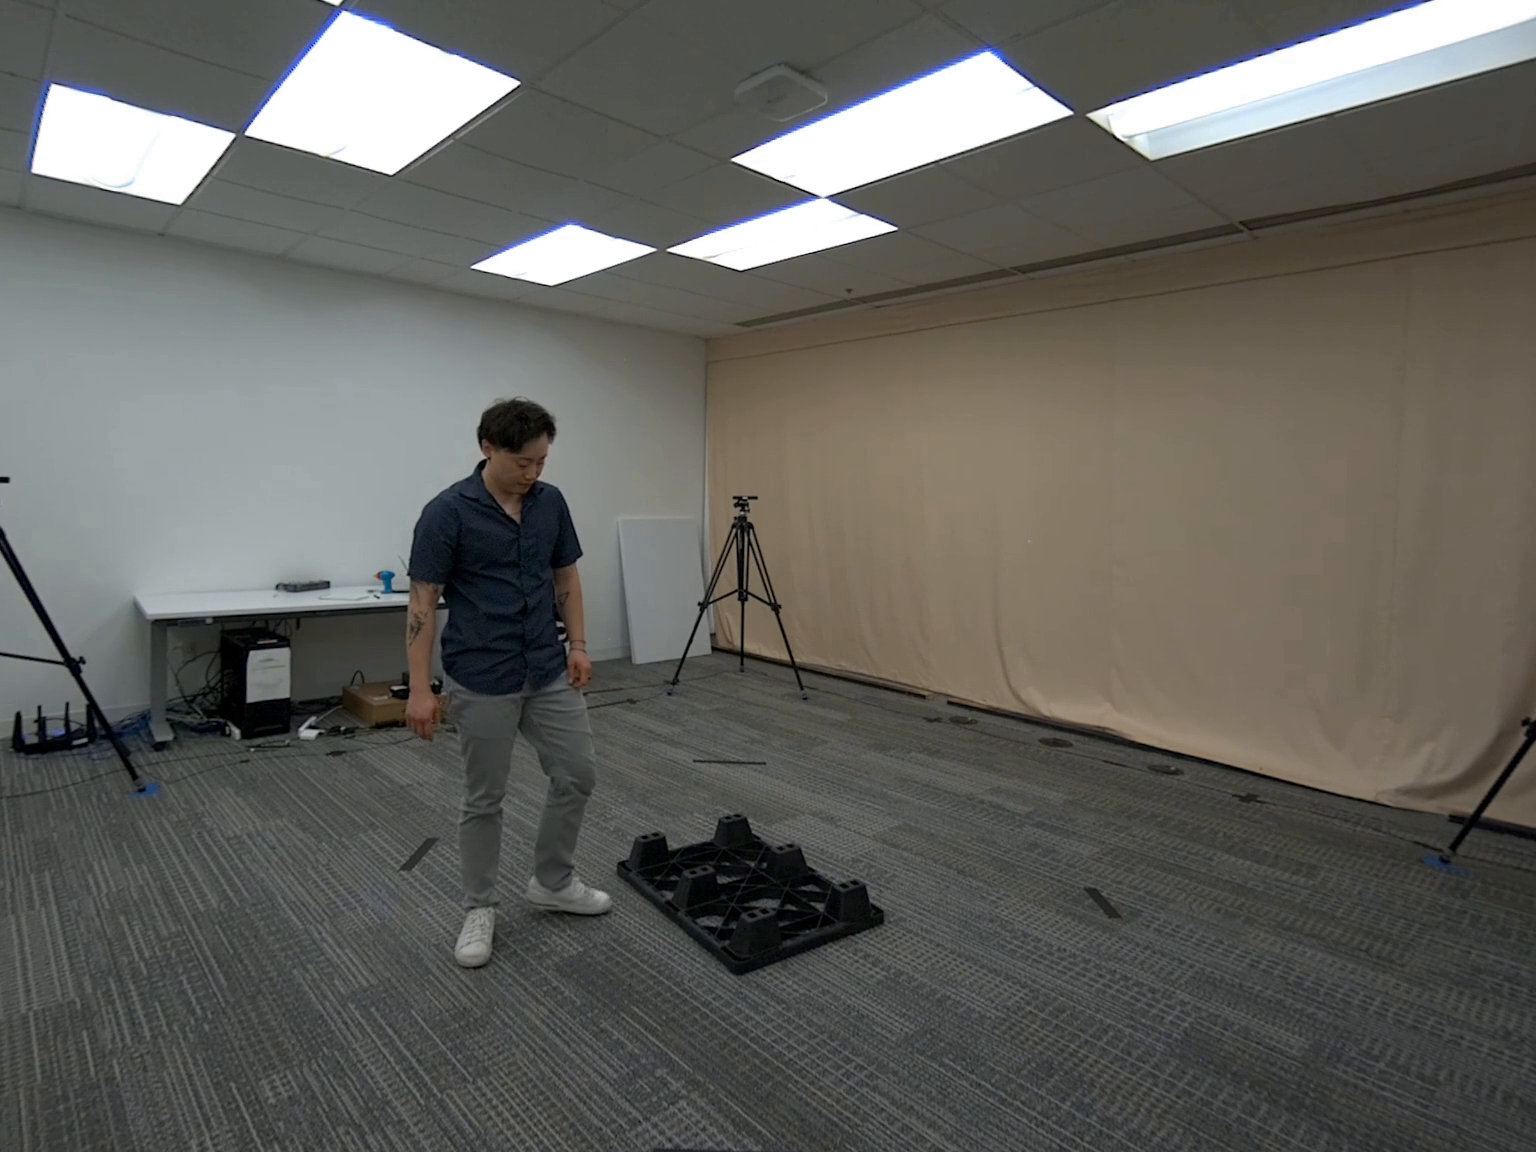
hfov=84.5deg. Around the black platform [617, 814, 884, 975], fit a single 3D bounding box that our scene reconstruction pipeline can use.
[{"bbox_3d":[-0.096,1.055,2.932,0.592,0.143,0.825,-2,6,-36],"label":"black platform"}]
